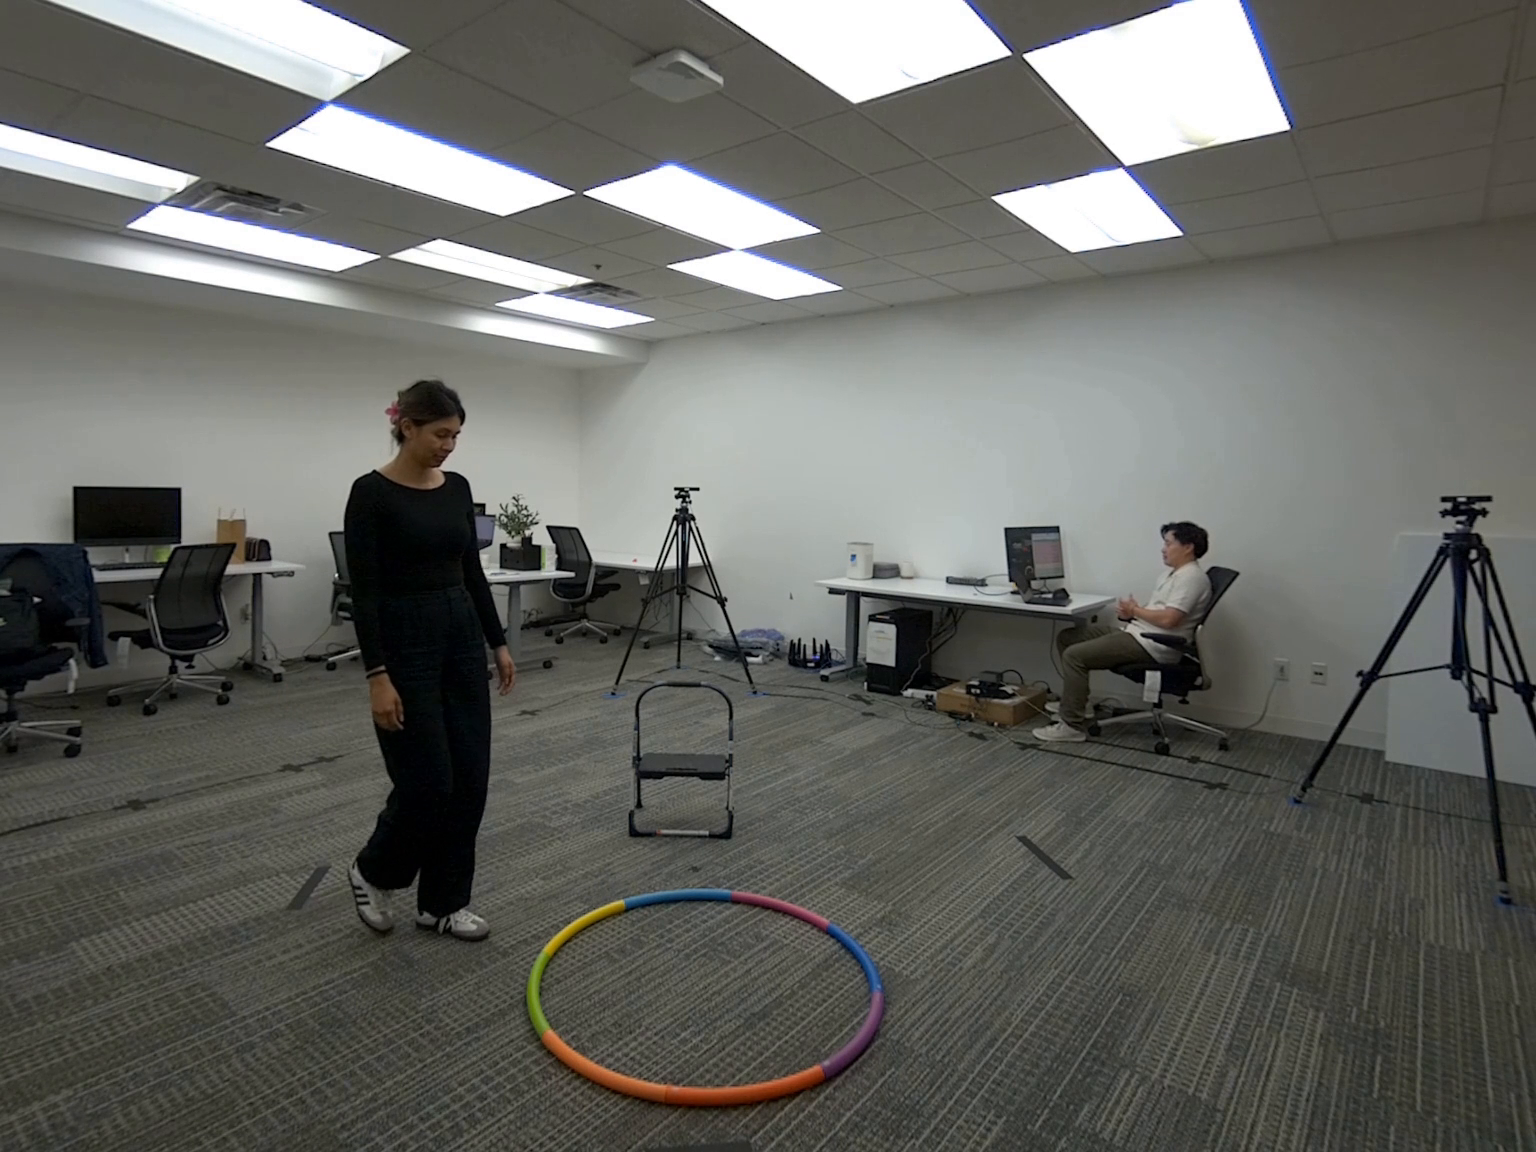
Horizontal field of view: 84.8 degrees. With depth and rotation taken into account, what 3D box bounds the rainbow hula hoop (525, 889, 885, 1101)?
[{"bbox_3d":[-0.184,1.100,2.405,0.978,0.035,0.984,1,6,-2],"label":"rainbow hula hoop"}]
